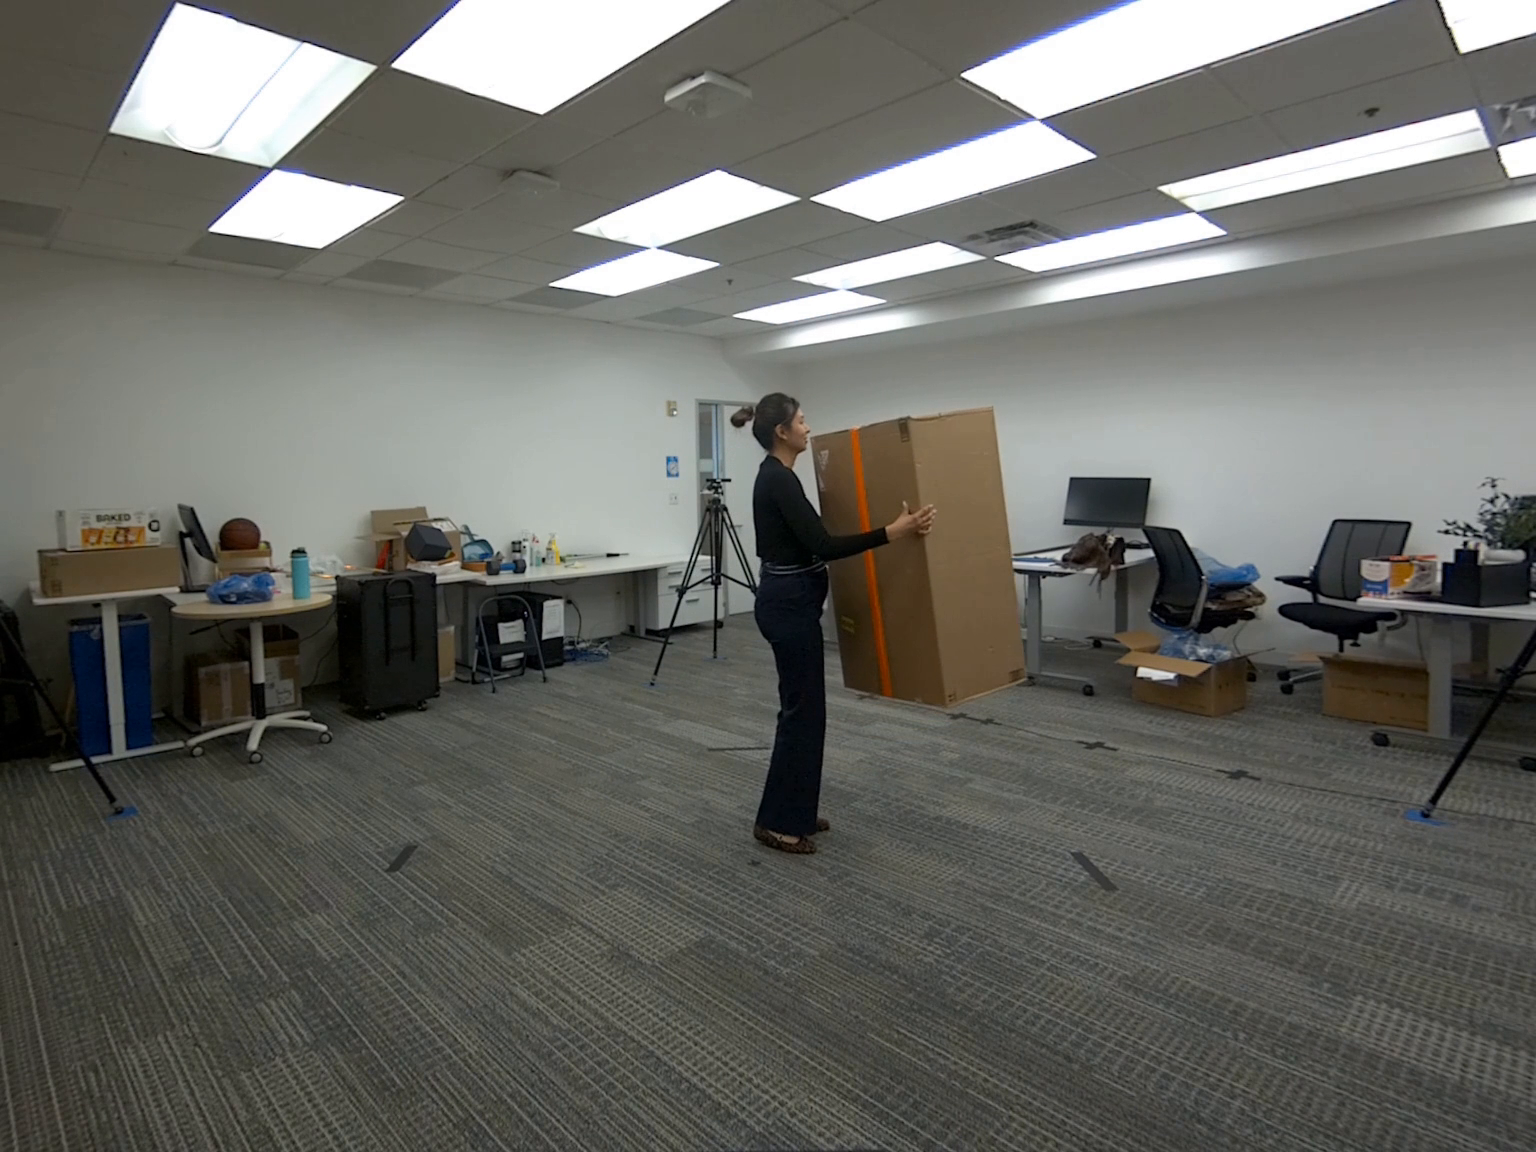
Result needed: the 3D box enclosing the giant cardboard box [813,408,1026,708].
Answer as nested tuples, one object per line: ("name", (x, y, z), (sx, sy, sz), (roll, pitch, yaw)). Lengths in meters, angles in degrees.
("giant cardboard box", (0.565, -0.081, 3.283), (0.417, 1.022, 0.592), (-10, 4, -30))
